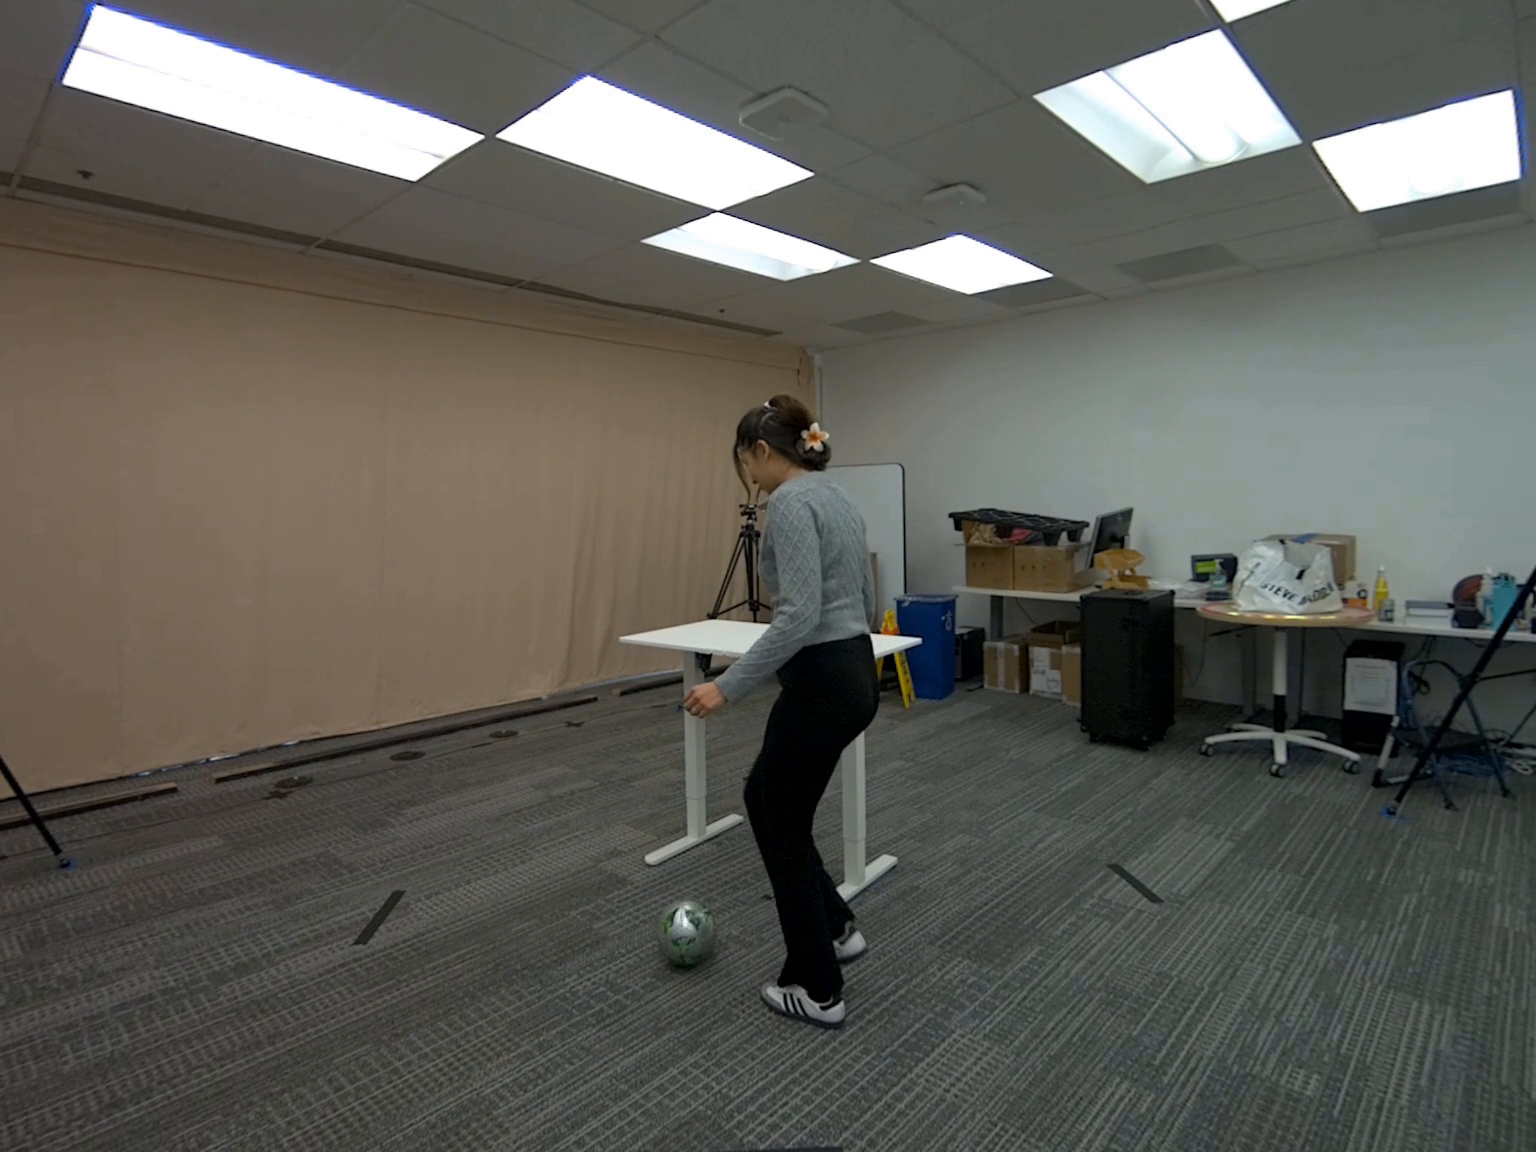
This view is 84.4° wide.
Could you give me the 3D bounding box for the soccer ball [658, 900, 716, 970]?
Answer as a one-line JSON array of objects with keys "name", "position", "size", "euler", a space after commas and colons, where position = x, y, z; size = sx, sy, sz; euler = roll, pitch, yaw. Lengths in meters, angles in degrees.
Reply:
[{"name": "soccer ball", "position": [-0.248, 1.083, 2.568], "size": [0.187, 0.187, 0.188], "euler": [-1, 4, -2]}]
